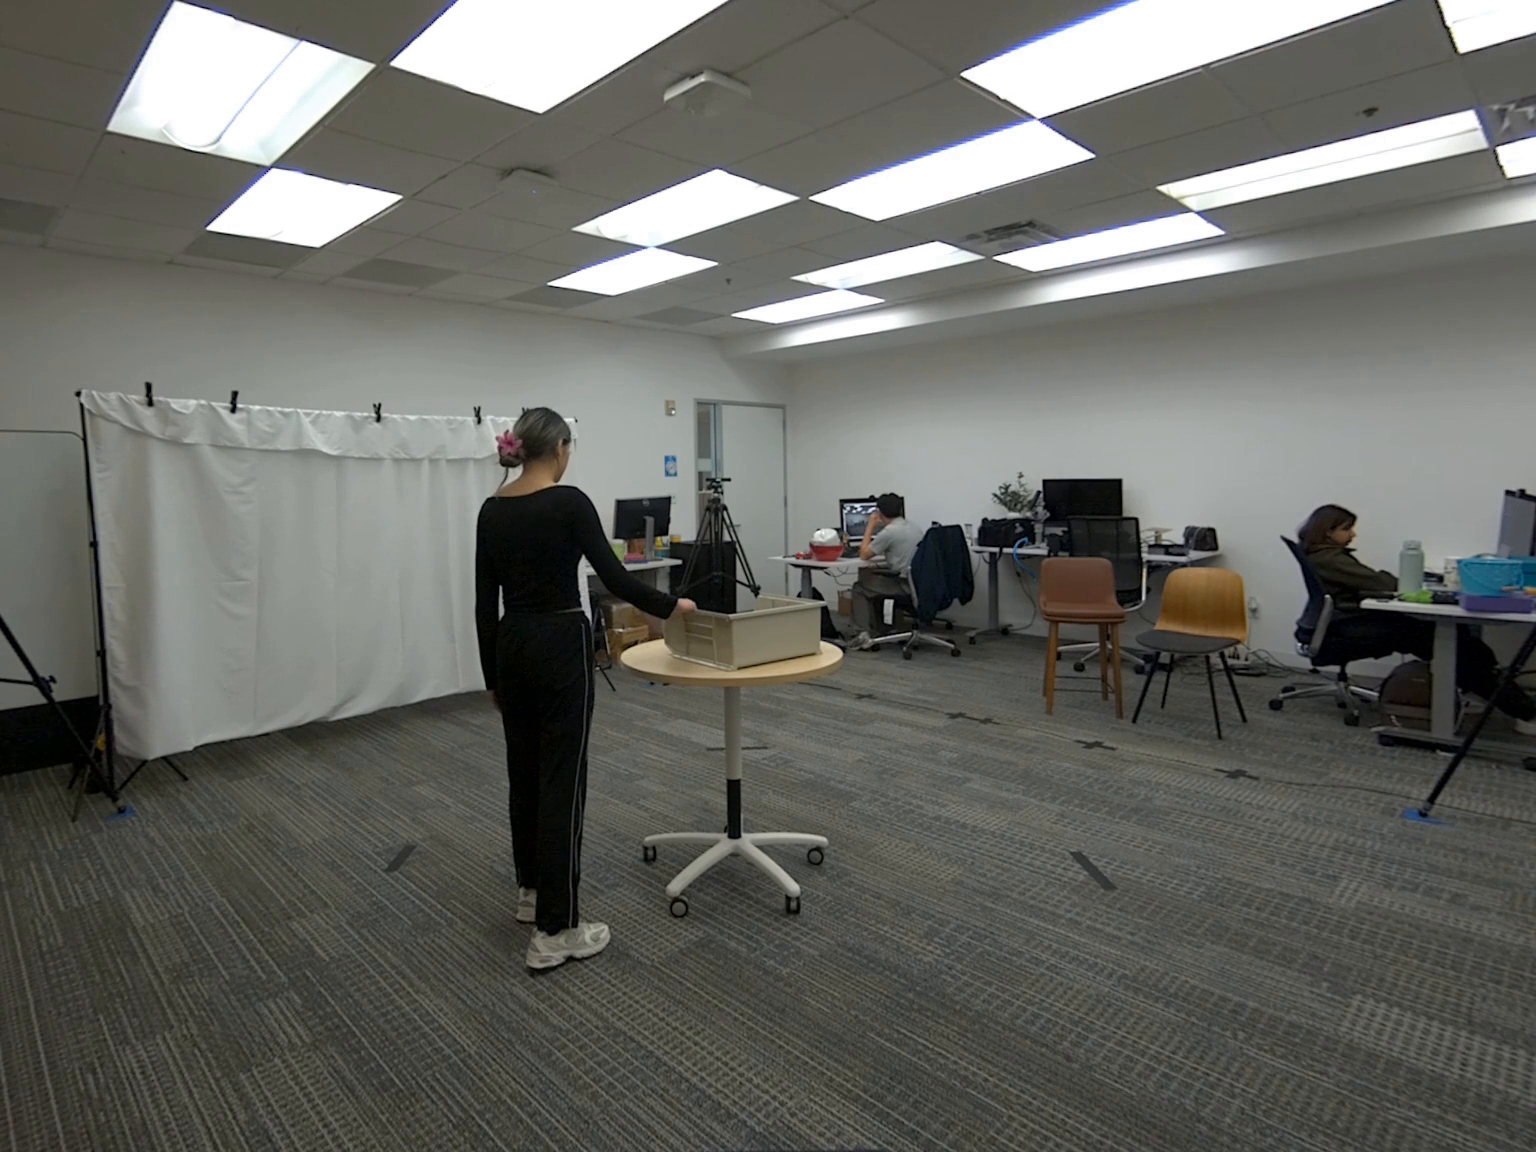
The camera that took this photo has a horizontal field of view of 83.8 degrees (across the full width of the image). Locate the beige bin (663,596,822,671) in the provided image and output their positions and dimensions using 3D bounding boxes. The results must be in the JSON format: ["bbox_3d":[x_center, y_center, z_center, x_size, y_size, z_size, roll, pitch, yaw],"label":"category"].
[{"bbox_3d":[-0.085,0.181,2.918,0.411,0.188,0.389,-5,8,-40],"label":"beige bin"}]
